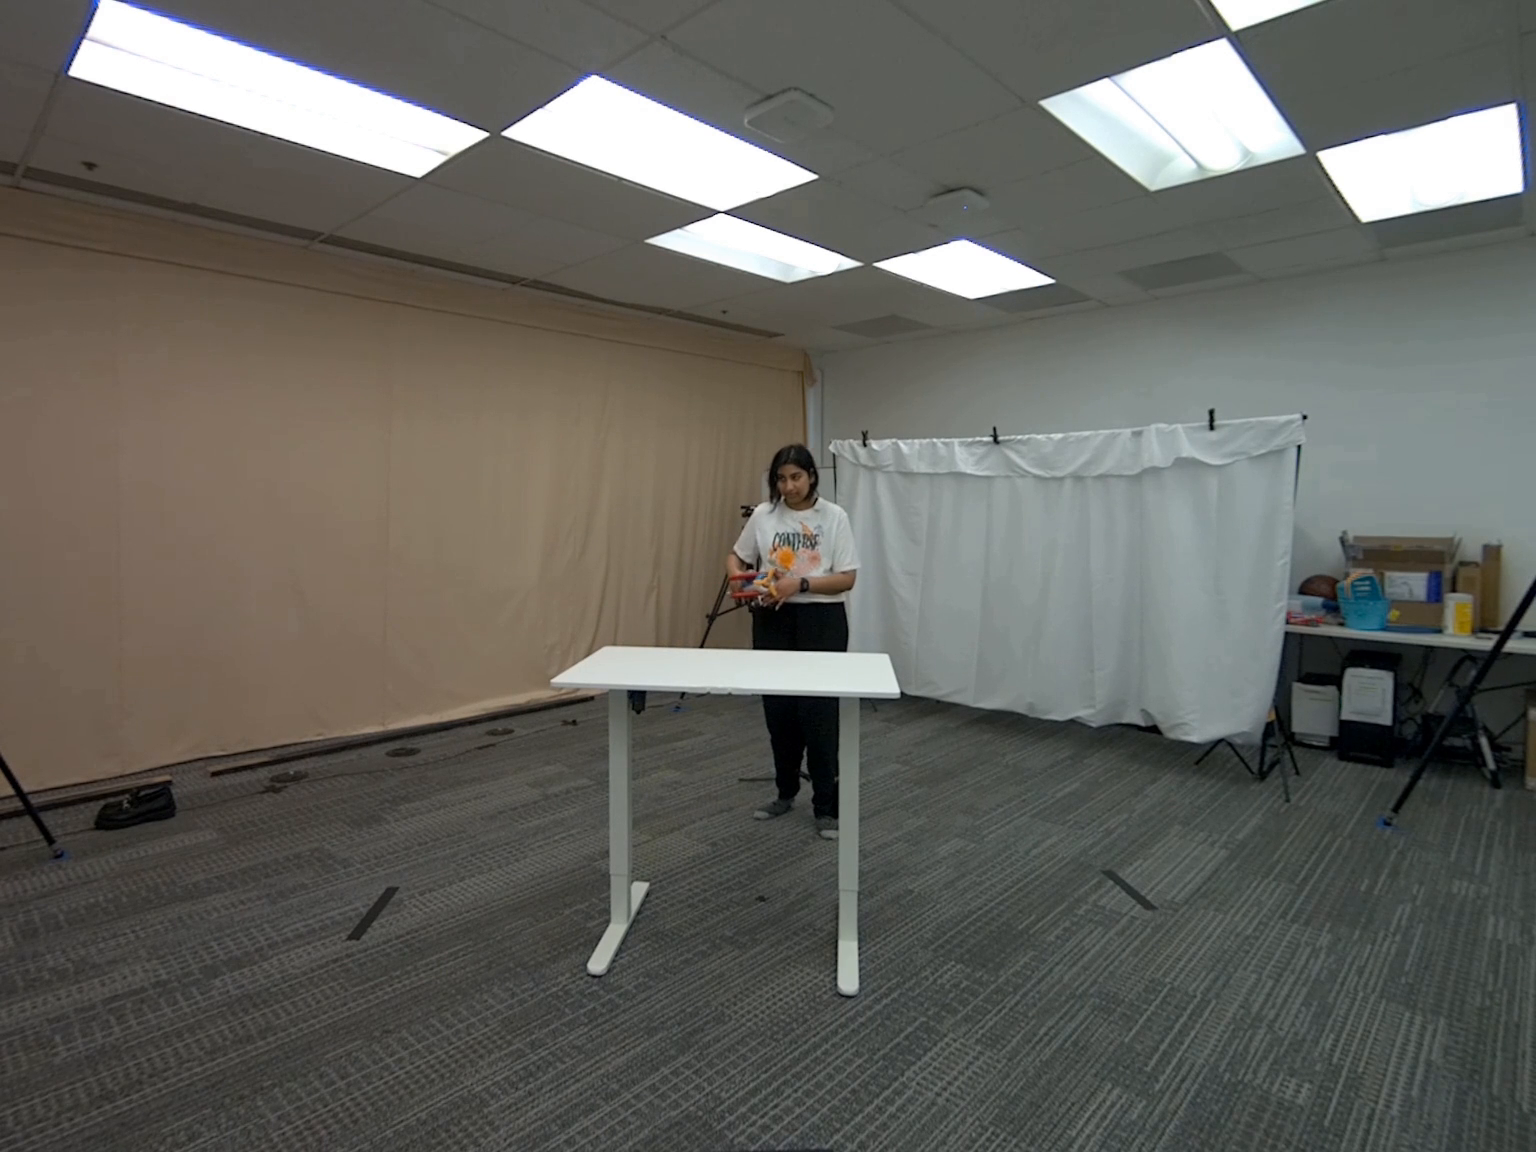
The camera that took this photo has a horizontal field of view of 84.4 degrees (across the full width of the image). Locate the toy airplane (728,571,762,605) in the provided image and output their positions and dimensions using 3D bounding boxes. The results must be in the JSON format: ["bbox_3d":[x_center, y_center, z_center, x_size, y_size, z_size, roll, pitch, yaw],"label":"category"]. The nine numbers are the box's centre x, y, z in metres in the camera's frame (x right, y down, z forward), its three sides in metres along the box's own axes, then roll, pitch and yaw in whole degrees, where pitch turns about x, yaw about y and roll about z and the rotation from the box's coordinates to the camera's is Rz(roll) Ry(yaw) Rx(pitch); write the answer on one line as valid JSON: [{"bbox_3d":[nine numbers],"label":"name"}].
[{"bbox_3d":[-0.072,0.056,3.580,0.267,0.156,0.244,2,7,34],"label":"toy airplane"}]
